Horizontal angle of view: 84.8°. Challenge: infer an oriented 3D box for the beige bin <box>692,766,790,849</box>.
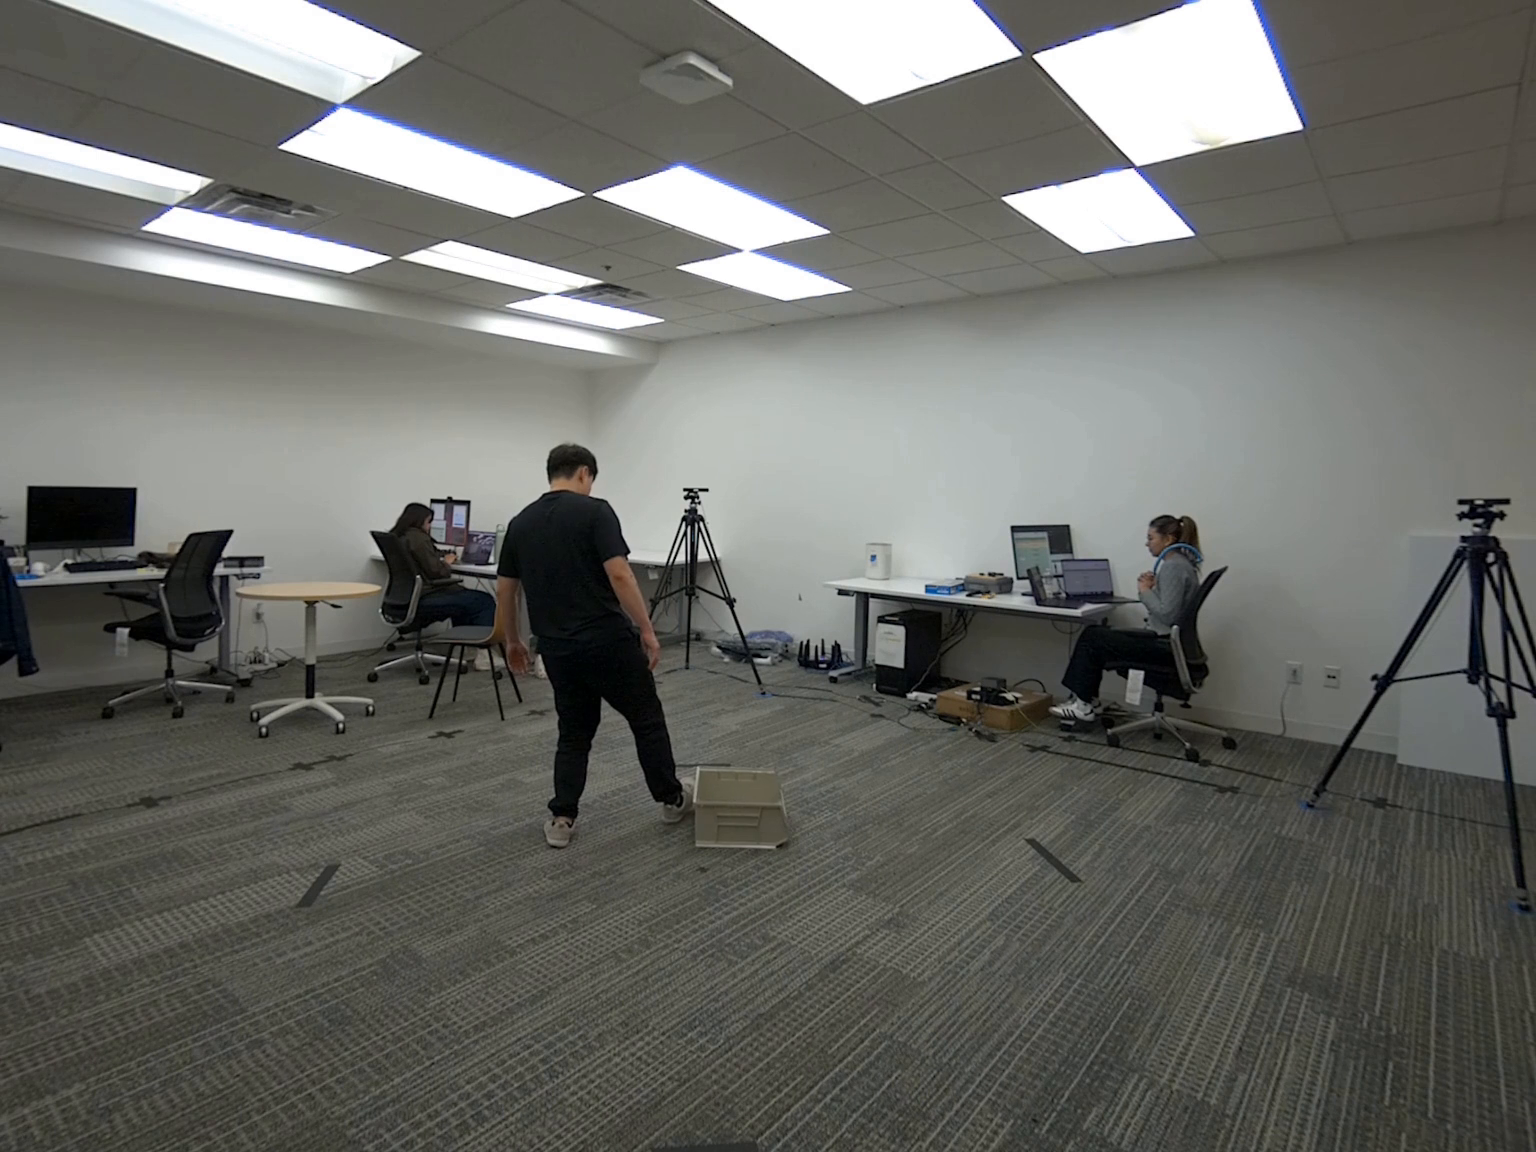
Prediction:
[{"bbox_3d":[-0.117,0.947,3.501,0.378,0.188,0.424,1,6,-1],"label":"beige bin"}]
